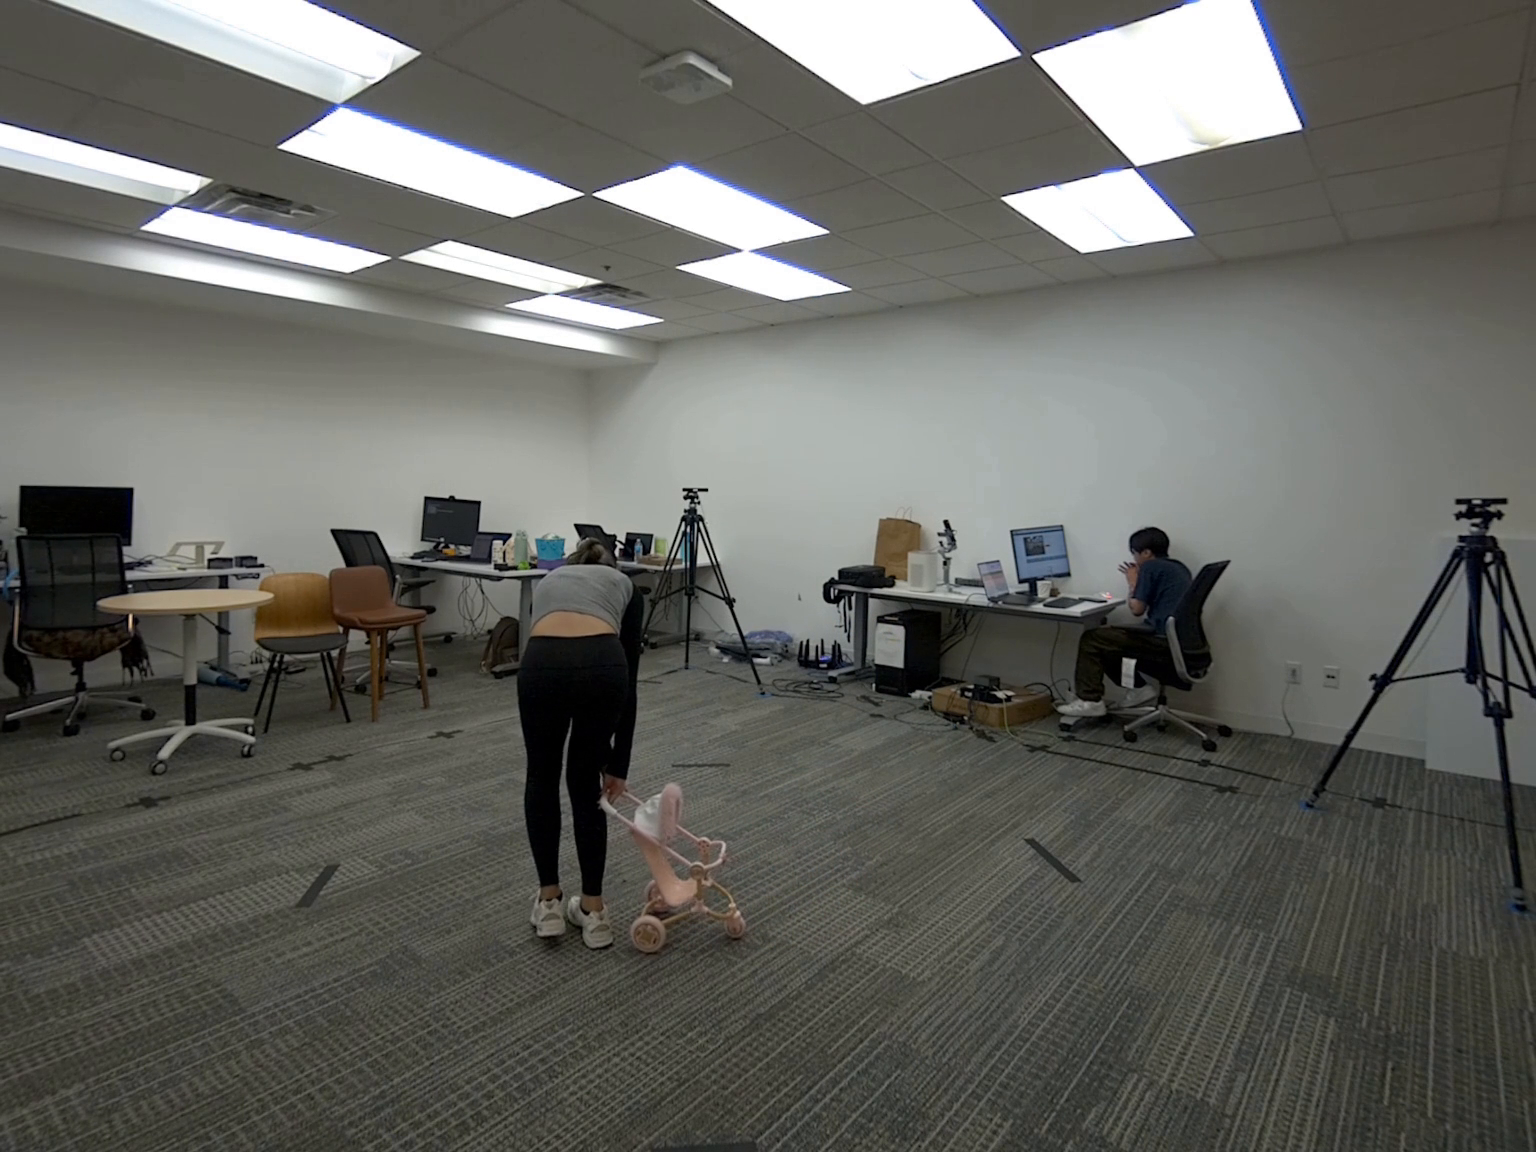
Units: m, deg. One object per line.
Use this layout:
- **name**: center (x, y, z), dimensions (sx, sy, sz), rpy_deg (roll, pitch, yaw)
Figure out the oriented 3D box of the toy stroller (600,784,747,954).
- **toy stroller**: center (-0.292, 0.888, 2.643), dimensions (0.344, 0.535, 0.279), rpy_deg (-15, 0, 9)
